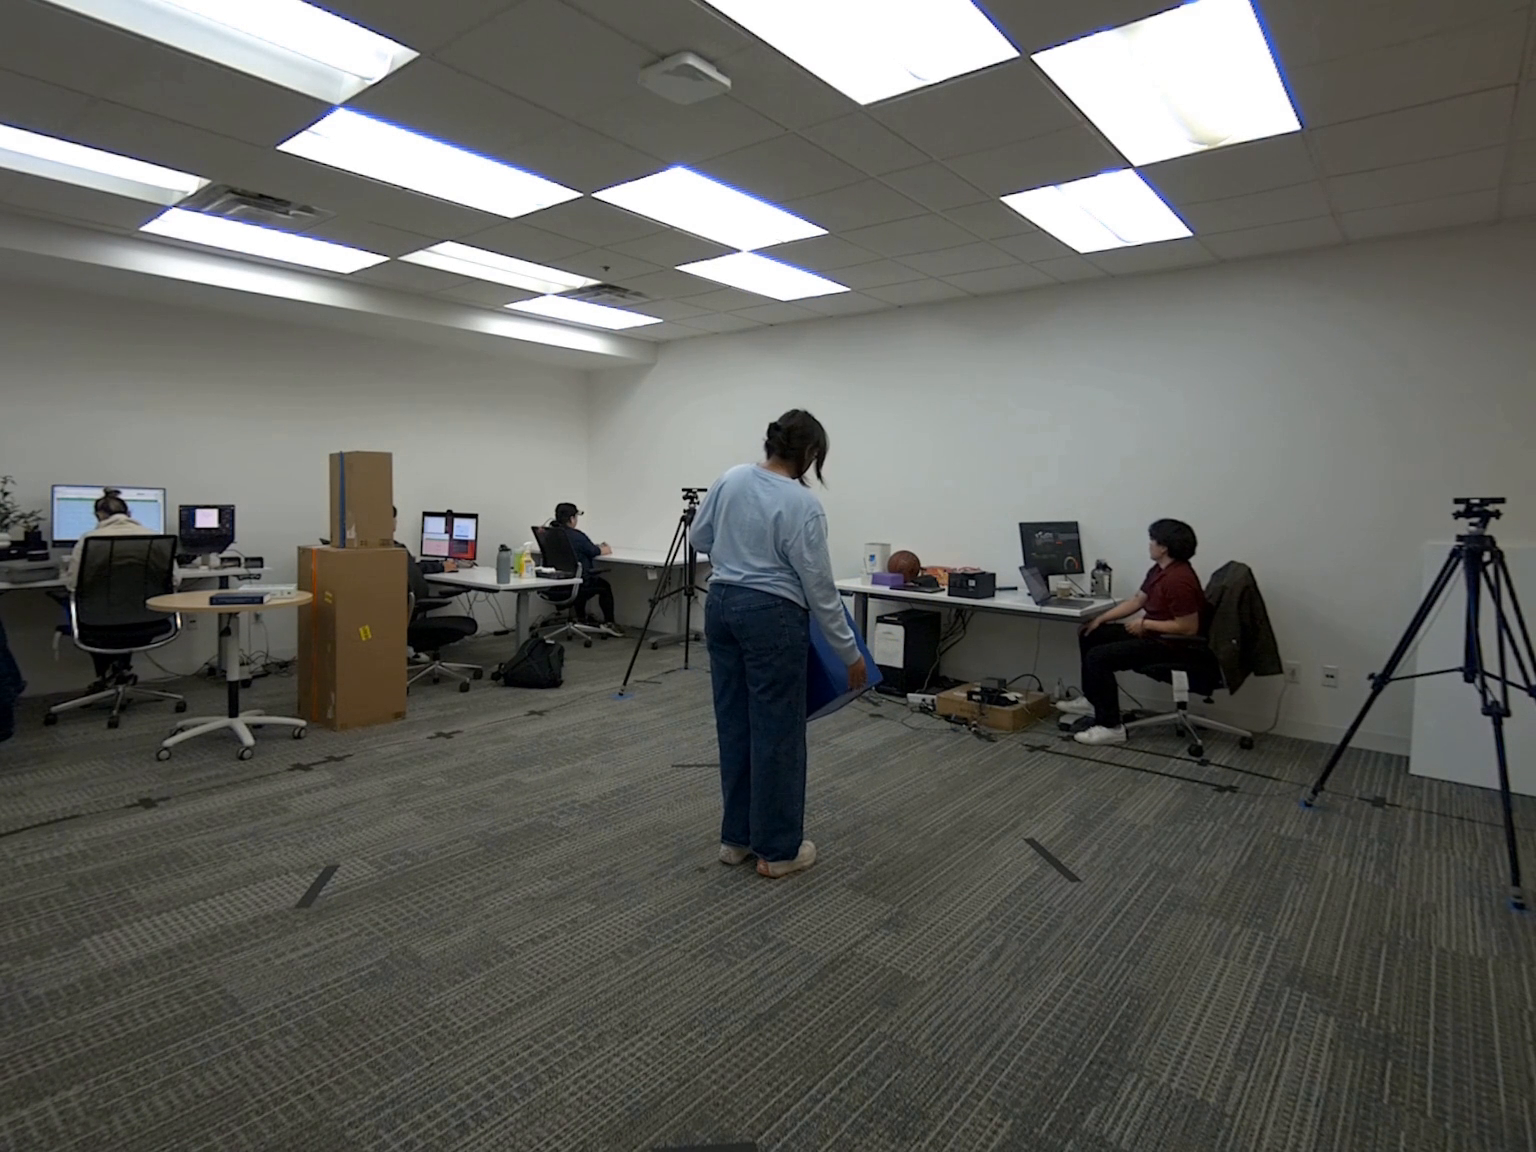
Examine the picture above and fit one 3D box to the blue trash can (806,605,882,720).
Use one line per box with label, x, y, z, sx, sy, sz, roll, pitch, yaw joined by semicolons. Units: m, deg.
blue trash can;0.101;0.196;3.448;0.368;0.732;0.375;-8;-28;-47
